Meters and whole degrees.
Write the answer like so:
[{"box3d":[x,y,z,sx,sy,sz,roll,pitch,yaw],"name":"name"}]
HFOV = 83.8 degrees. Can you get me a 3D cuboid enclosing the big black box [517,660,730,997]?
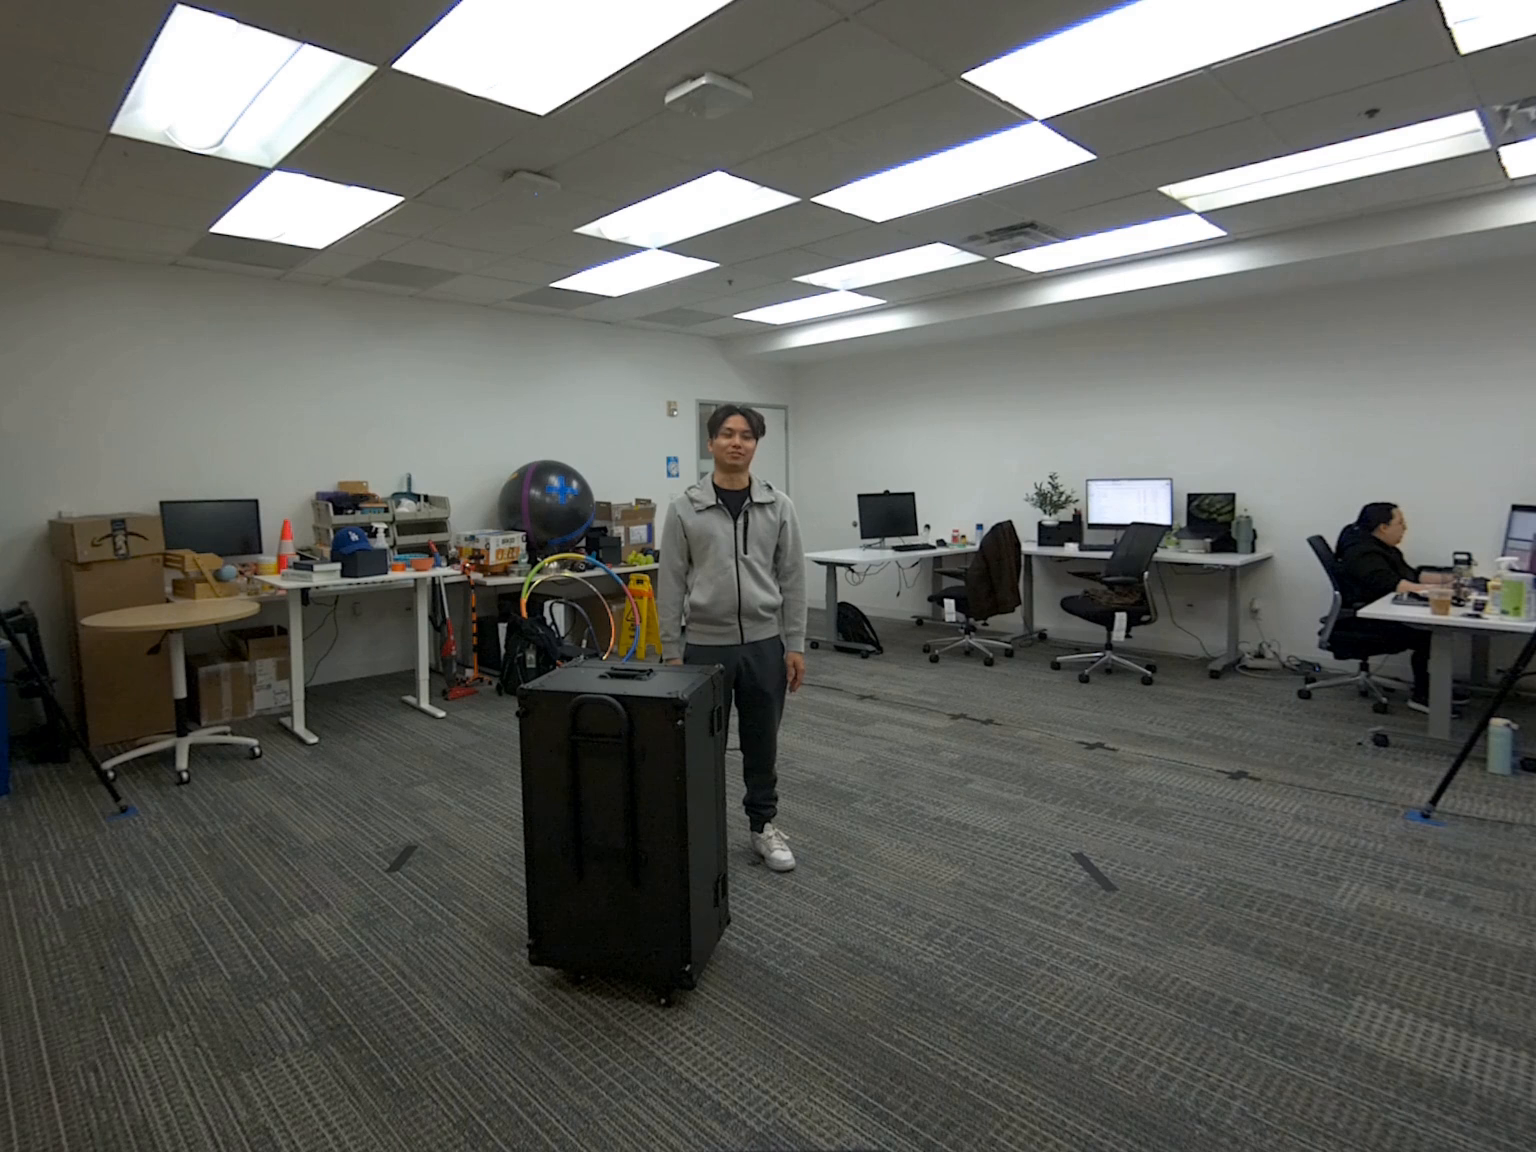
[{"box3d":[-0.401,0.711,2.422,0.530,0.857,0.392,0,5,17],"name":"big black box"}]
